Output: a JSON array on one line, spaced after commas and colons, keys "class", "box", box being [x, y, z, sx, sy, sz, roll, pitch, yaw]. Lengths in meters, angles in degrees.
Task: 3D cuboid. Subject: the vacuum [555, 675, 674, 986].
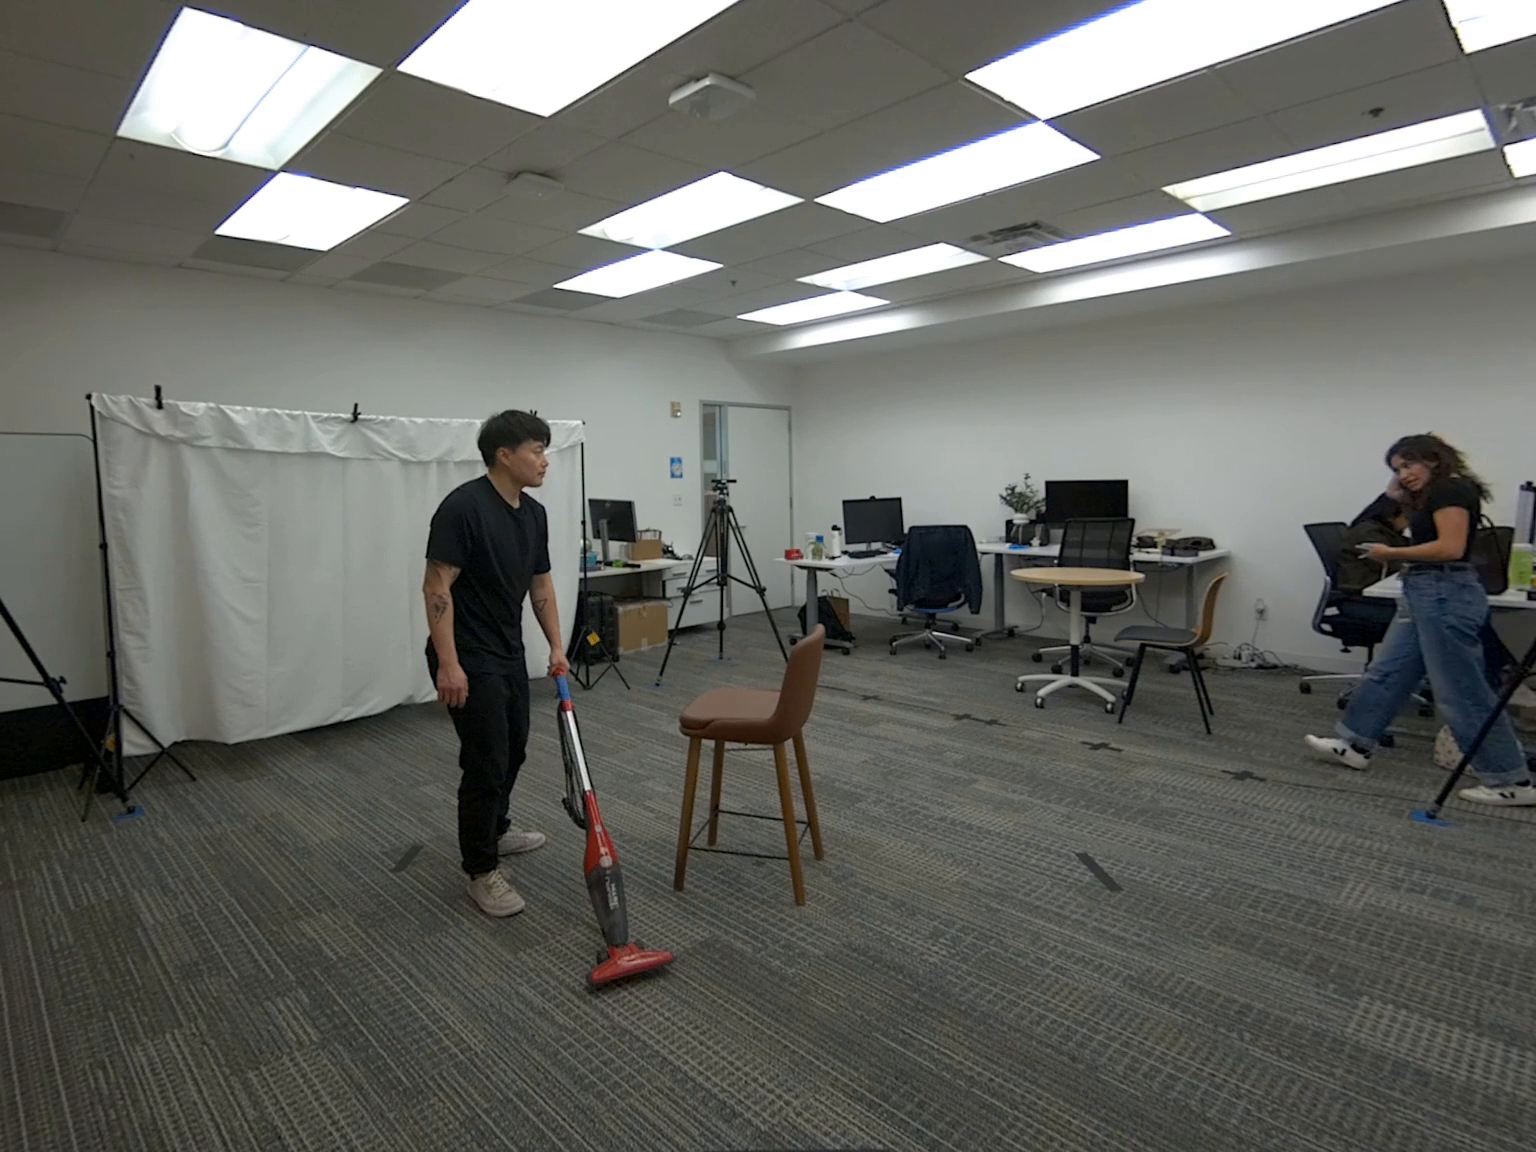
[{"class": "vacuum", "box": [-0.581, 0.719, 2.748, 0.247, 1.087, 0.142, -5, -40, -25]}]
